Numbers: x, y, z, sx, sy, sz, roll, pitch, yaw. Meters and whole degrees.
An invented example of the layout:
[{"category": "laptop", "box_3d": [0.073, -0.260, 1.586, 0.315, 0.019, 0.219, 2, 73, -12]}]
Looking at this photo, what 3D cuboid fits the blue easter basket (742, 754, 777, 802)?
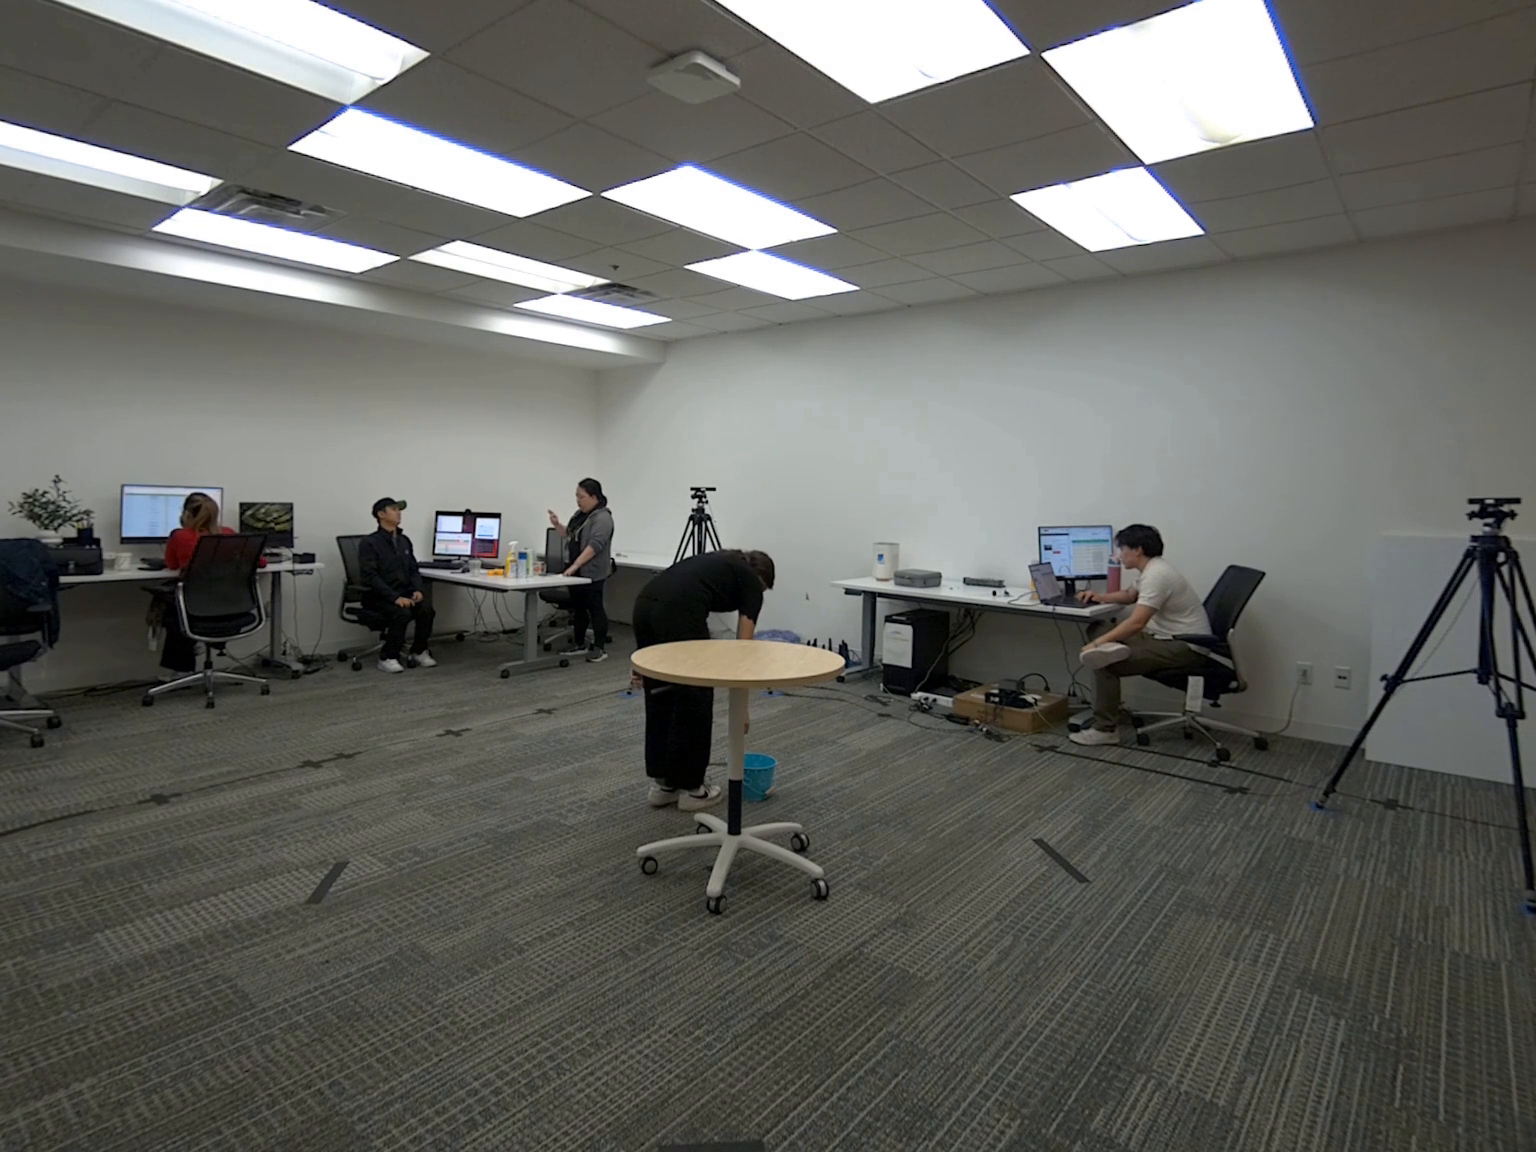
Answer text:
[{"category": "blue easter basket", "box_3d": [-0.098, 0.918, 3.887, 0.243, 0.155, 0.245, 1, 5, -2]}]
